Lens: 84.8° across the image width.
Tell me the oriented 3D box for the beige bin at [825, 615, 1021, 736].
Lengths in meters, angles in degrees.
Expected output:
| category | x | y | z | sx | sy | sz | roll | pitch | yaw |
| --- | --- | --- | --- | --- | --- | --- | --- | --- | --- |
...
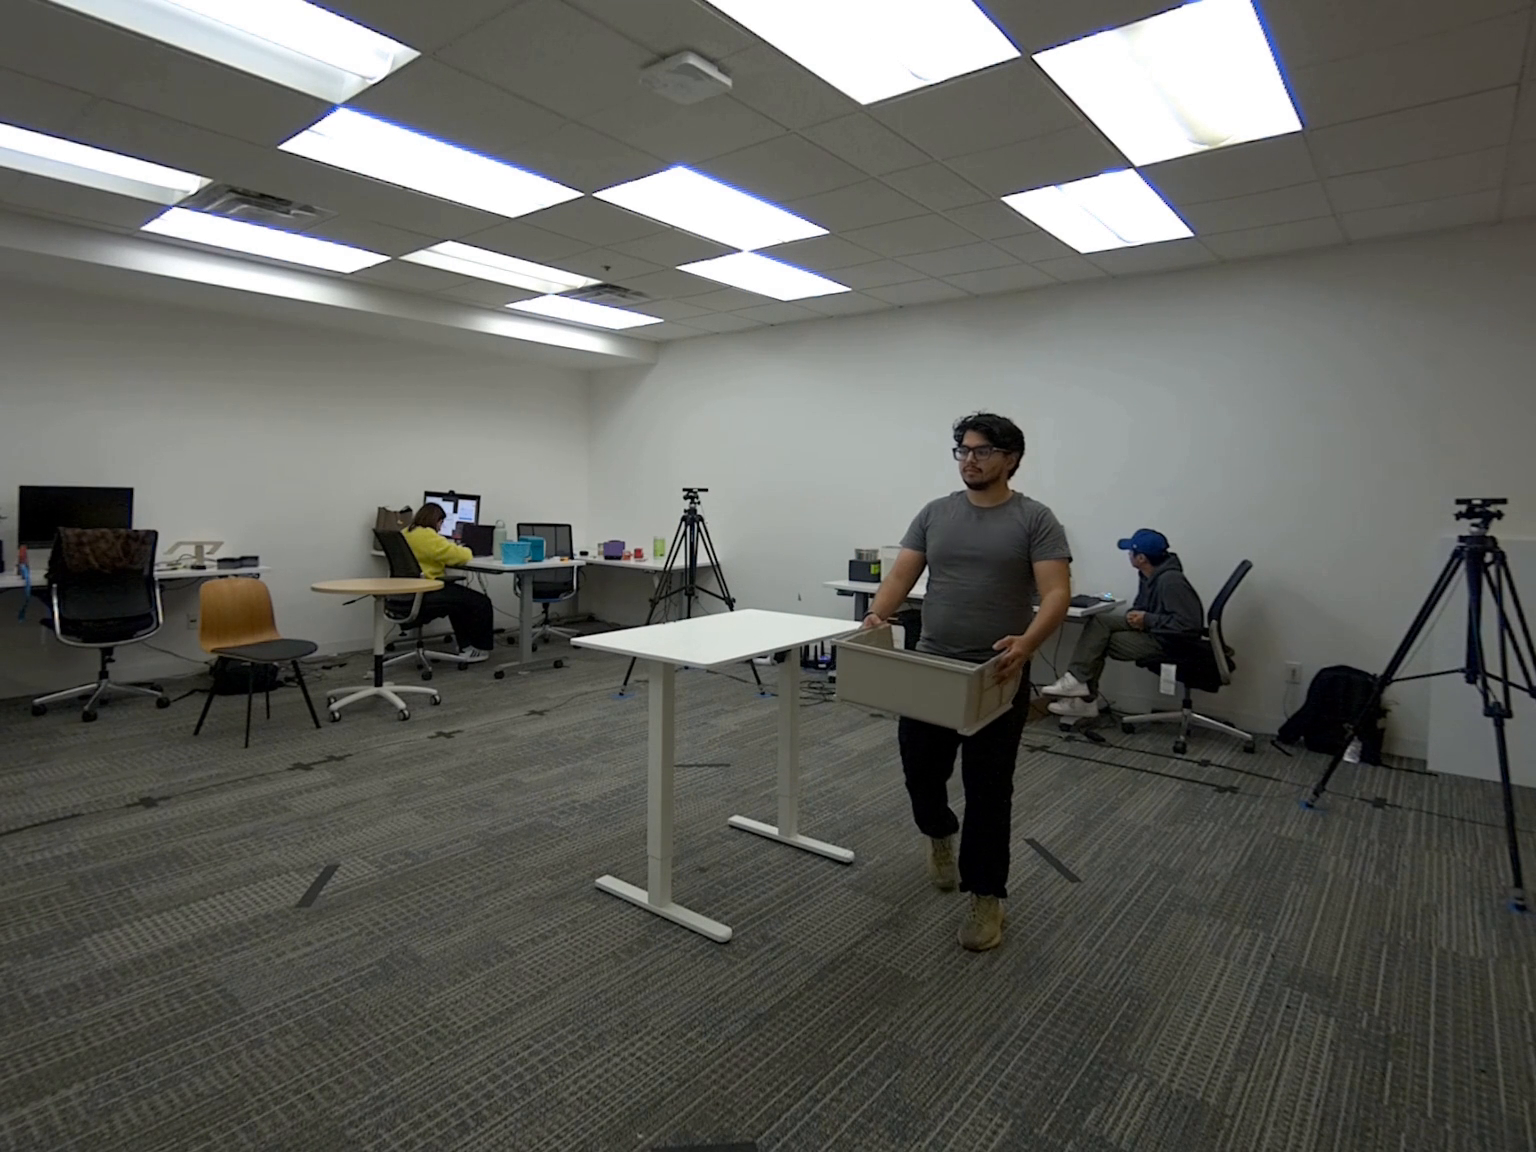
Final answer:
| category | x | y | z | sx | sy | sz | roll | pitch | yaw |
| --- | --- | --- | --- | --- | --- | --- | --- | --- | --- |
| beige bin | 0.449 | 0.270 | 2.426 | 0.437 | 0.187 | 0.368 | 9 | 13 | 37 |
